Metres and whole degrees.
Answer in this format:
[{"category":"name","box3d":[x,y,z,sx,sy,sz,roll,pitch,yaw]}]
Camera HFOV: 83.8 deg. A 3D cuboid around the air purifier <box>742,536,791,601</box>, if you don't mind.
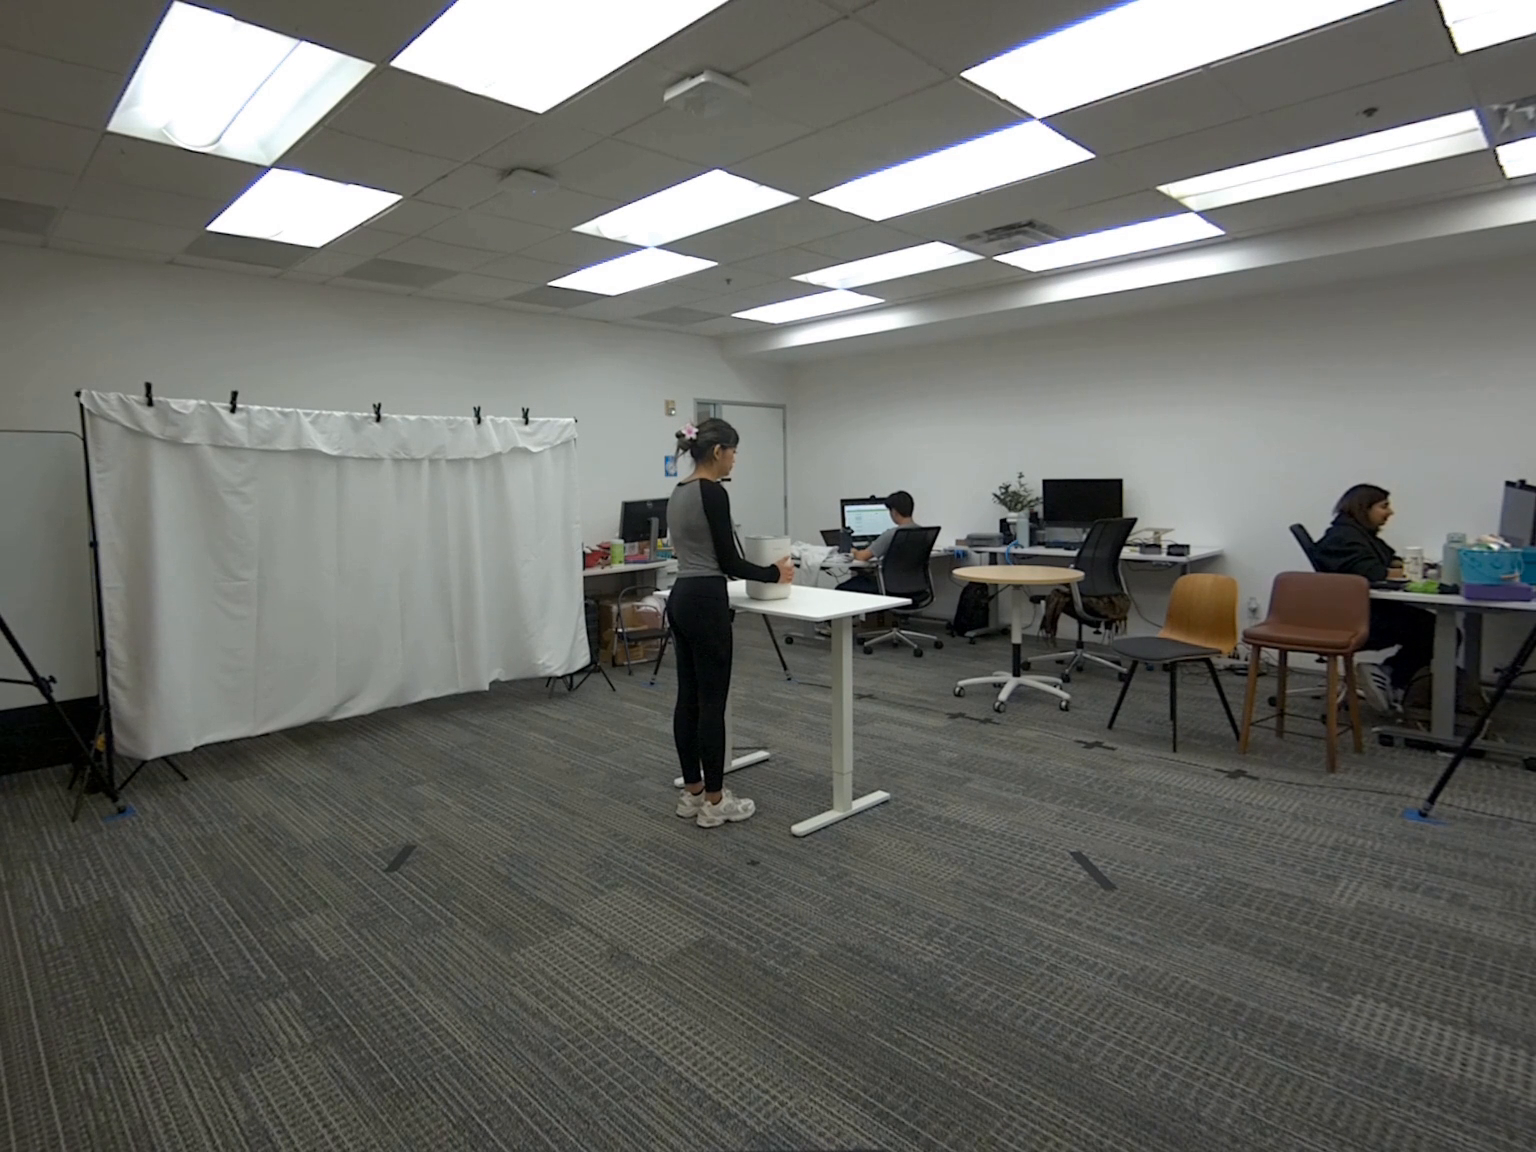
[{"category":"air purifier","box3d":[0.003,-0.037,3.669,0.167,0.264,0.177,-4,8,-31]}]
